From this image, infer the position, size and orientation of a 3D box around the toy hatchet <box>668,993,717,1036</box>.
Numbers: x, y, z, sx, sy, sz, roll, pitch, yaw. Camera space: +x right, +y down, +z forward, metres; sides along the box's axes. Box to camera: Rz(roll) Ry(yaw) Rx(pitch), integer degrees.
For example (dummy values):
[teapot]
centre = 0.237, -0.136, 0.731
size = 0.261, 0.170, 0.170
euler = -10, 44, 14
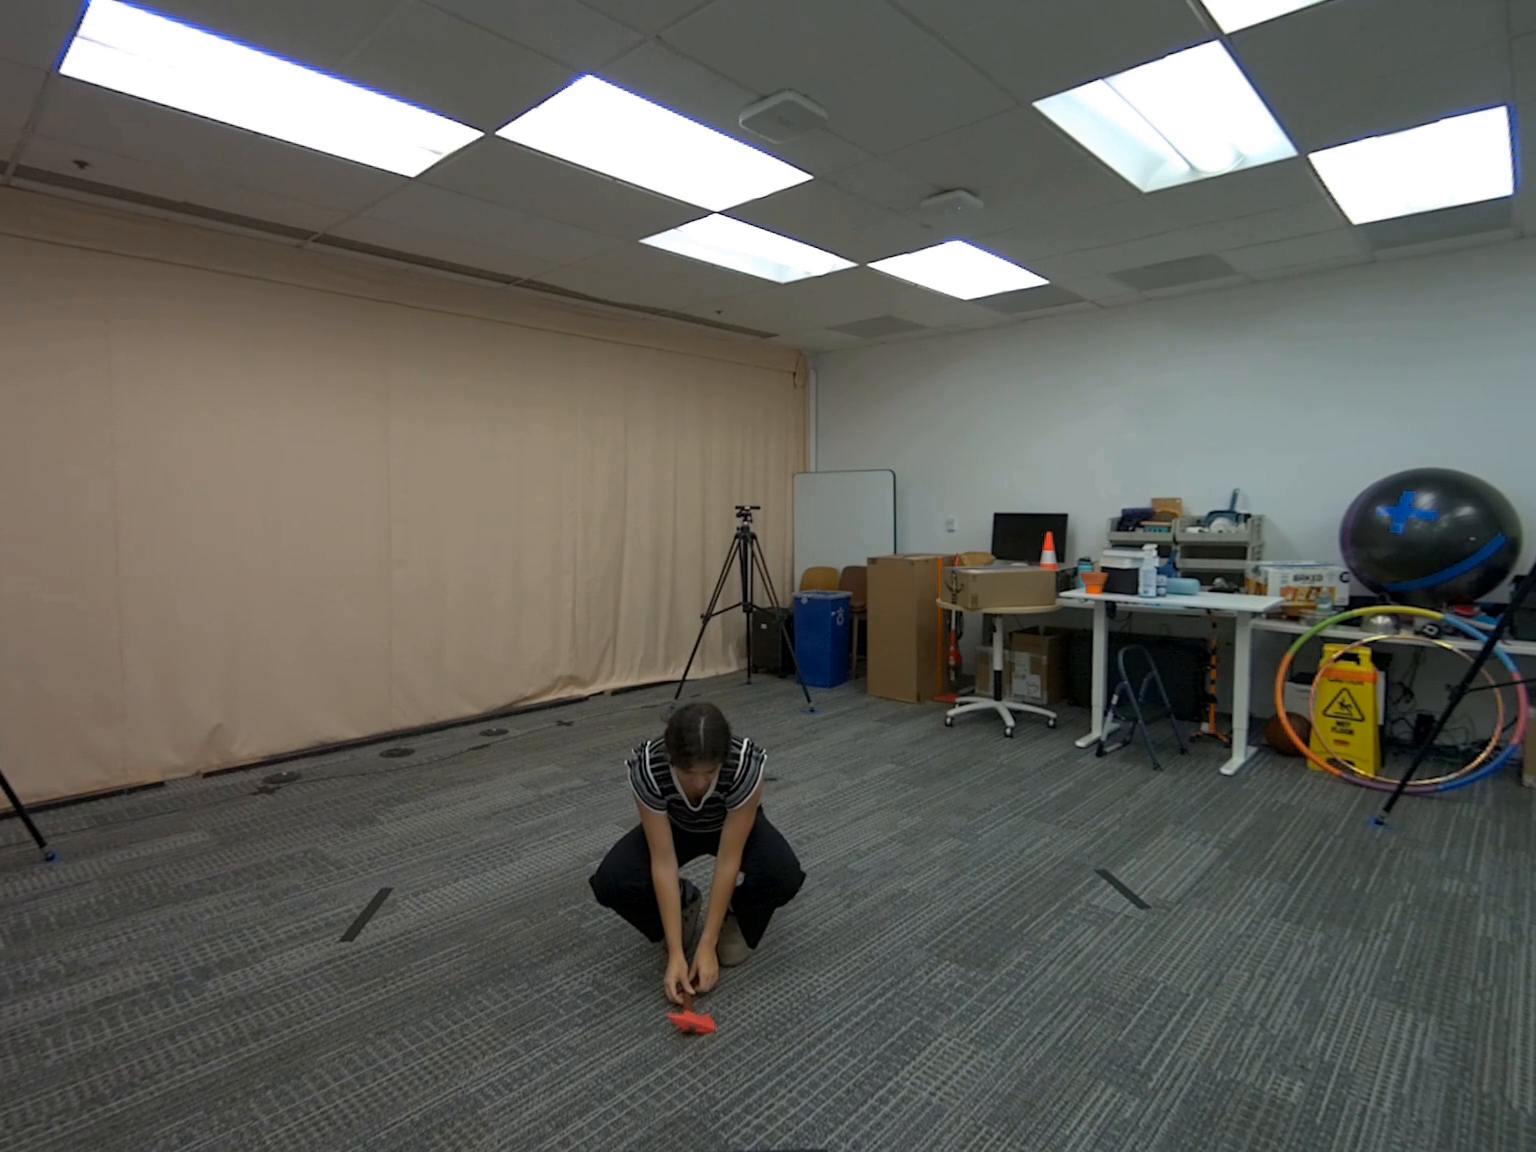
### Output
[toy hatchet]
centre = -0.237, 1.175, 2.315
size = 0.128, 0.029, 0.277
euler = 8, 4, -24
